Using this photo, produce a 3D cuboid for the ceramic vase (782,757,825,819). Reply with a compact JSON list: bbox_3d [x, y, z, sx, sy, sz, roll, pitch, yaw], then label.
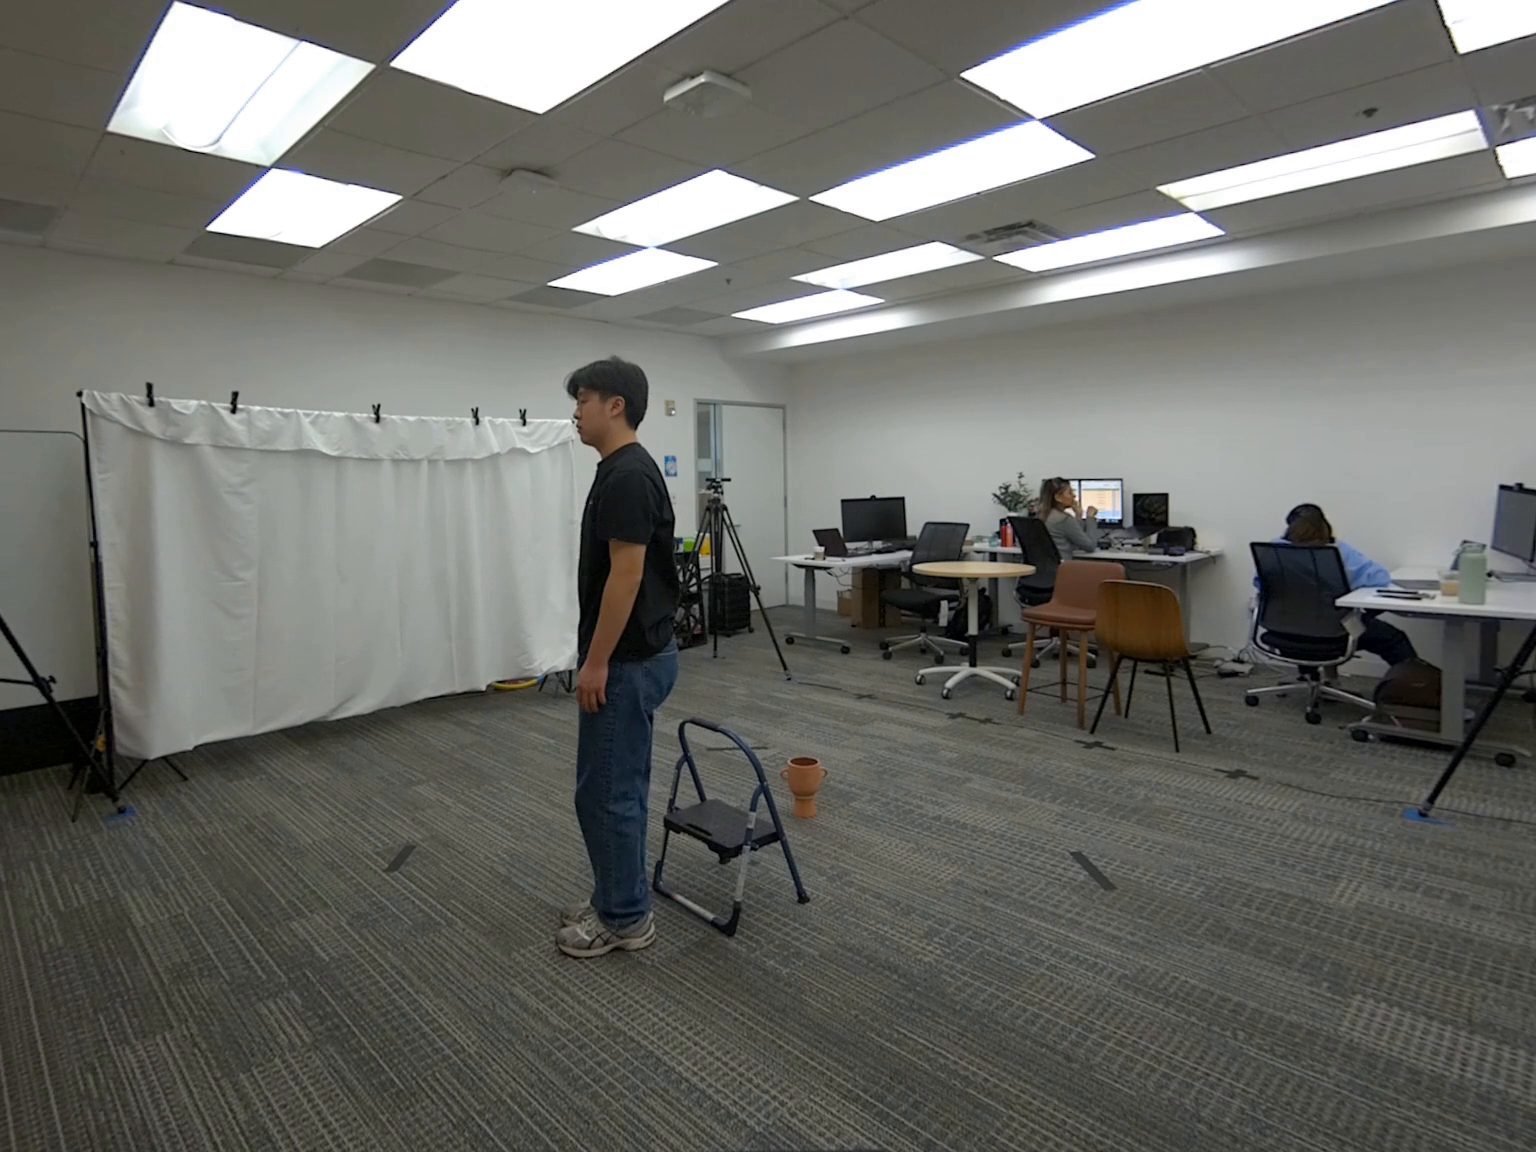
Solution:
[{"bbox_3d":[0.152,0.875,3.546,0.163,0.219,0.131,3,6,35],"label":"ceramic vase"}]
